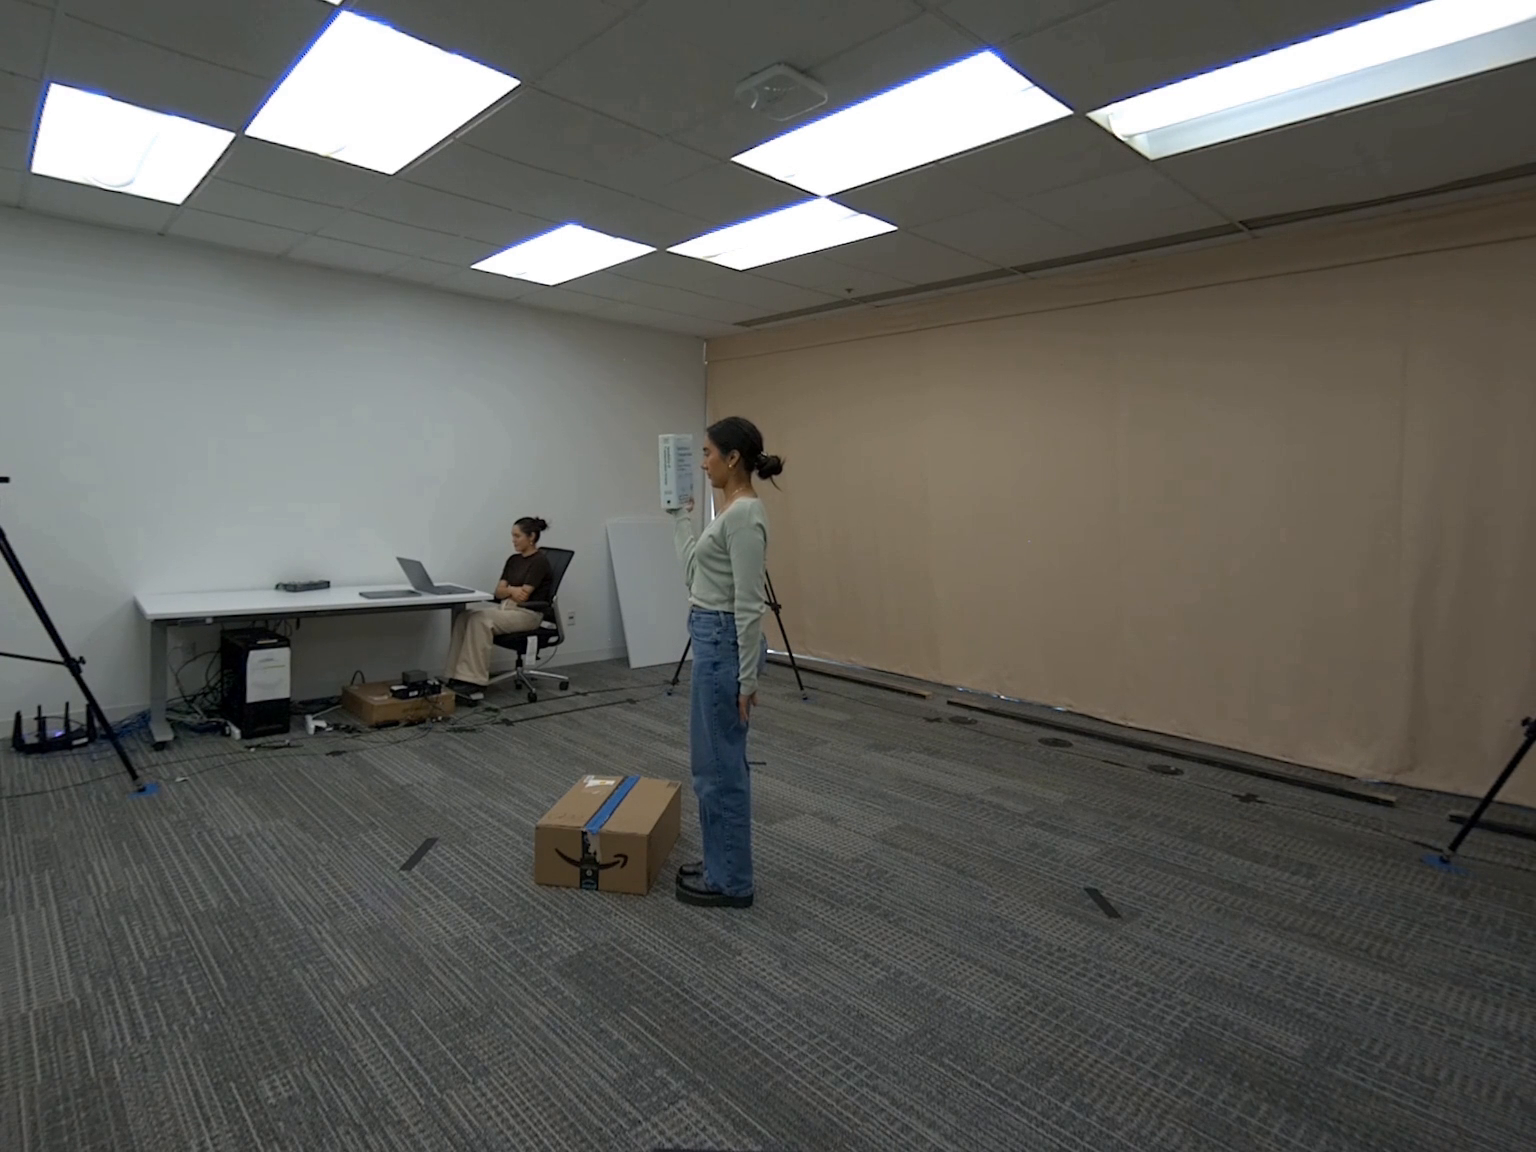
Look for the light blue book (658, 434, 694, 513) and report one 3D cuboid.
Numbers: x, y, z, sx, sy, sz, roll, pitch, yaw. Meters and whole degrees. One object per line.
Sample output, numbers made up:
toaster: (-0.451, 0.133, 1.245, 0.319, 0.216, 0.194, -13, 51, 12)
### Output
light blue book: (-0.338, -0.382, 3.061, 0.060, 0.259, 0.190, -1, 8, 14)
